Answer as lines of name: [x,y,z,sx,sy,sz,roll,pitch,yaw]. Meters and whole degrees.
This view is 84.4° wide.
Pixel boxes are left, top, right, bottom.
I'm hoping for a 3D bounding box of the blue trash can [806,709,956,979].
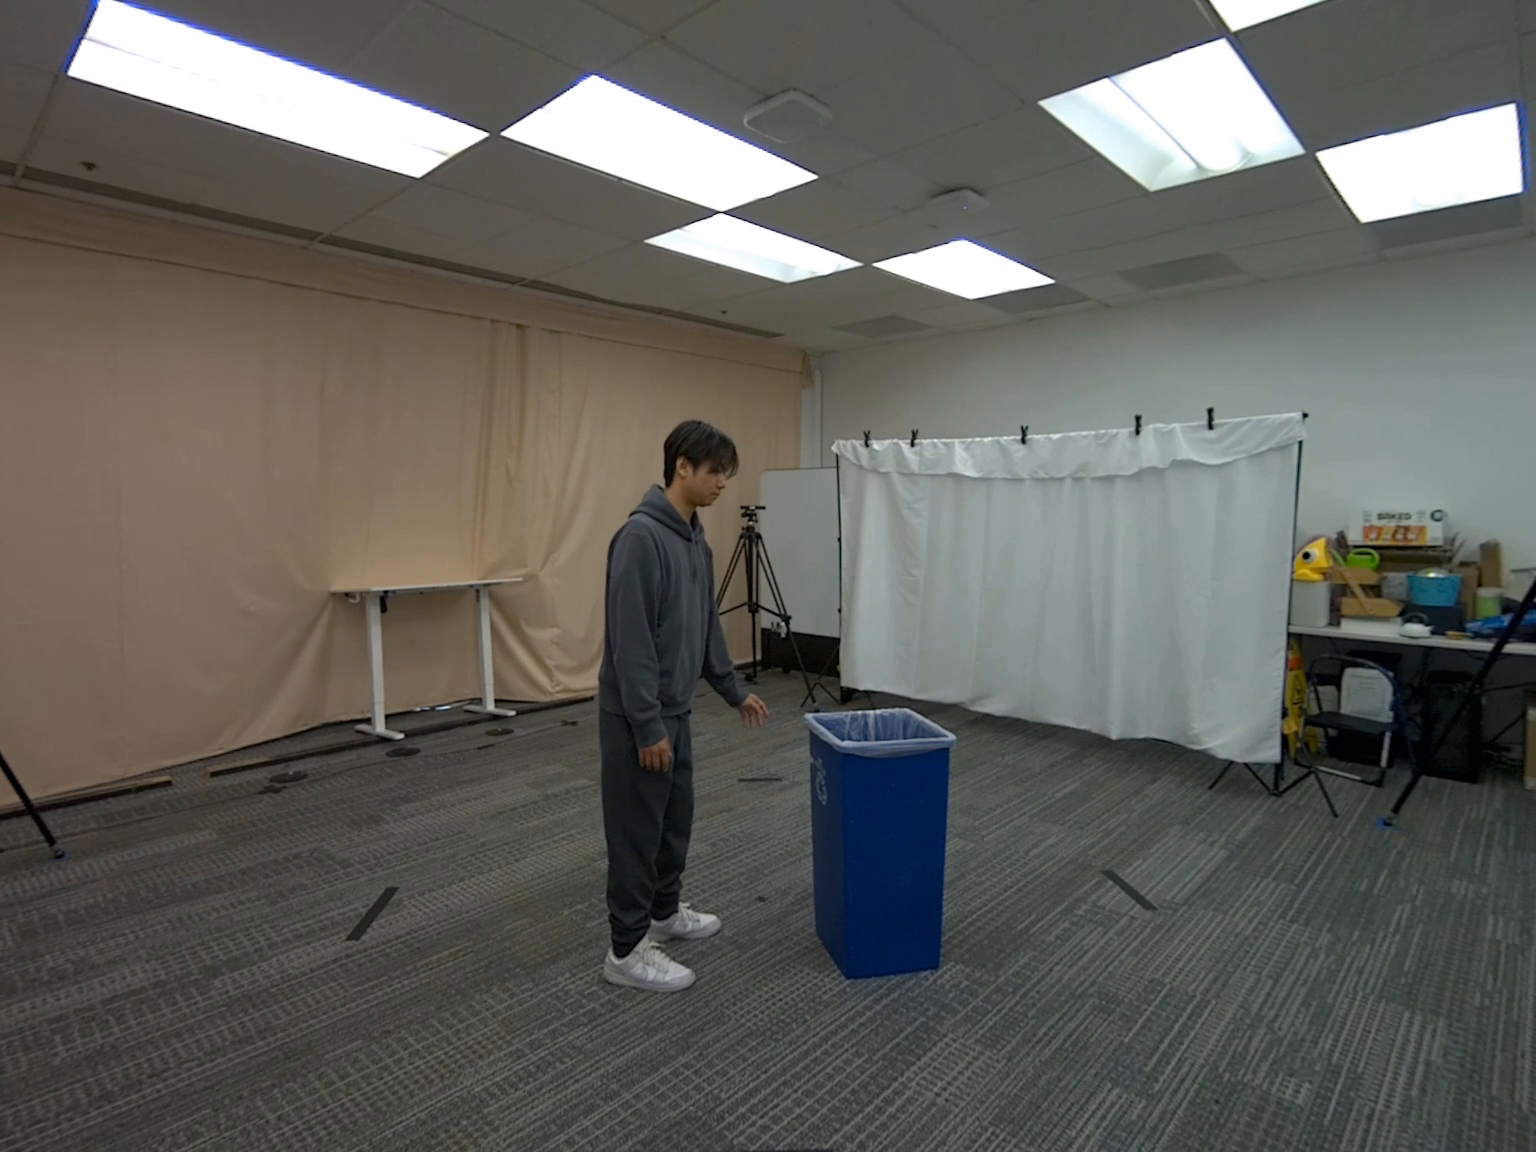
blue trash can: [0.341,0.816,2.617,0.373,0.712,0.380,-1,3,-13]
